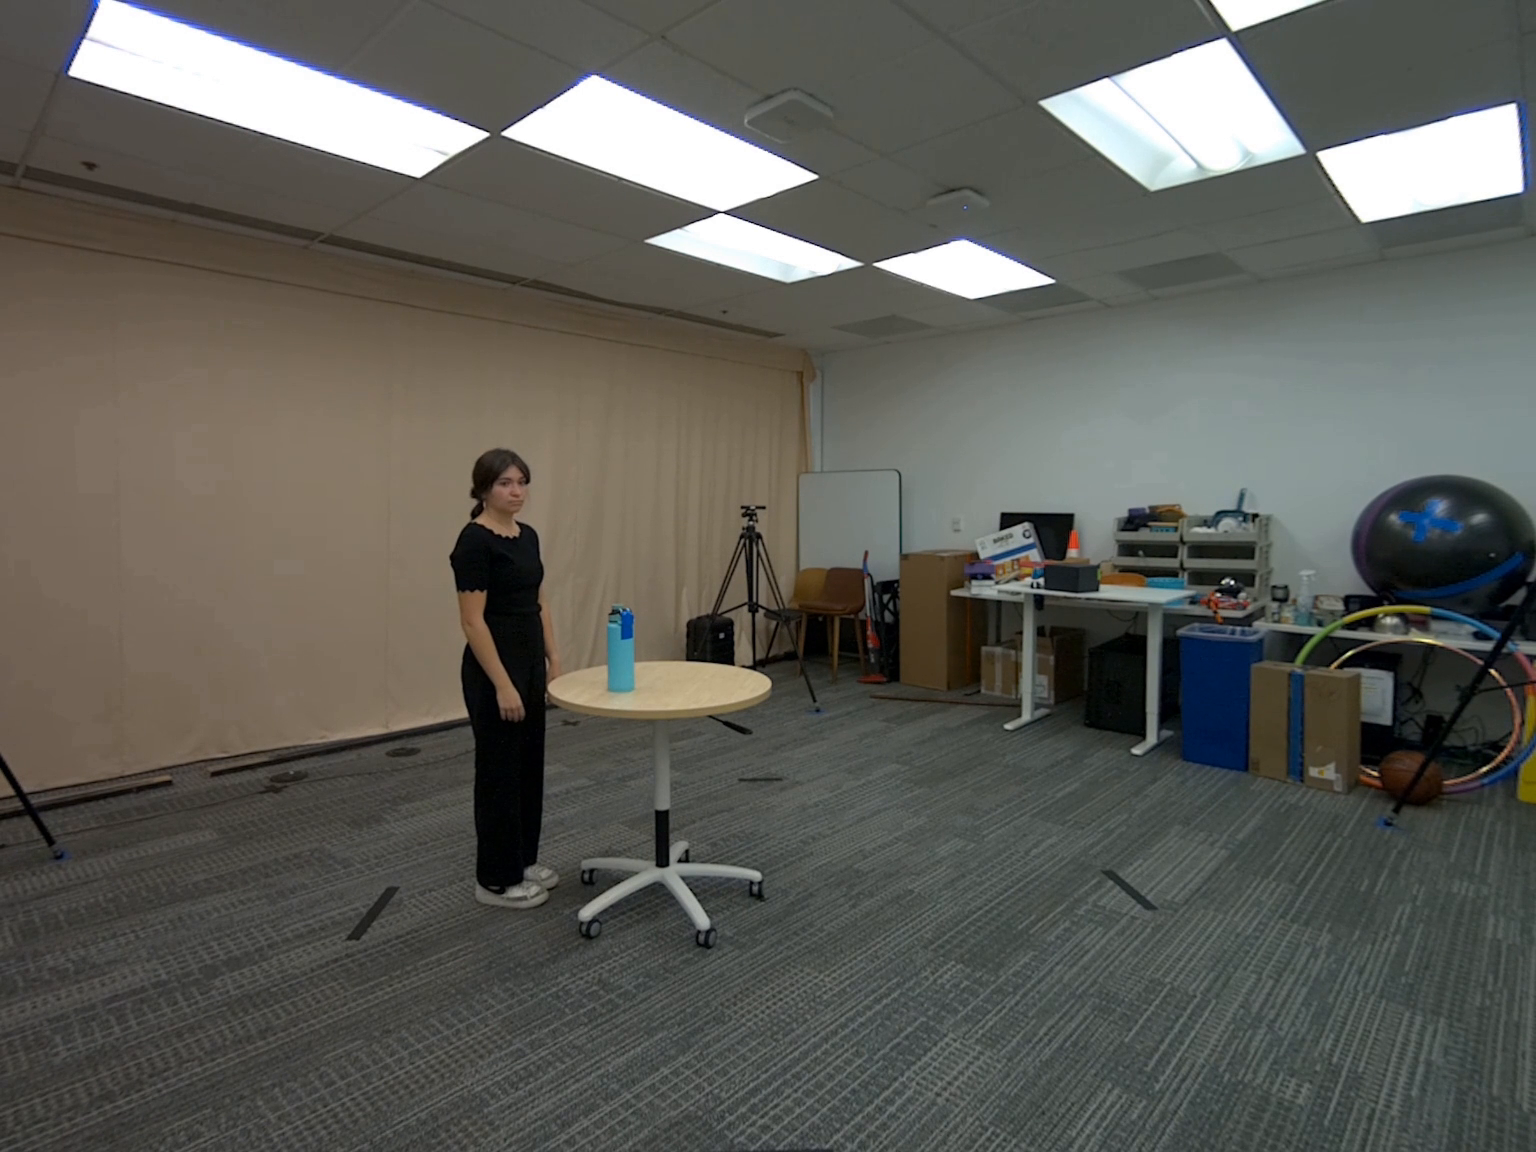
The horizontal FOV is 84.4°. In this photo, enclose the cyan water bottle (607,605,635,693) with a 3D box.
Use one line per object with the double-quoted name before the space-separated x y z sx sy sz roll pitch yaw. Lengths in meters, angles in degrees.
"cyan water bottle" -0.484 0.242 2.790 0.092 0.283 0.092 3 3 -2
